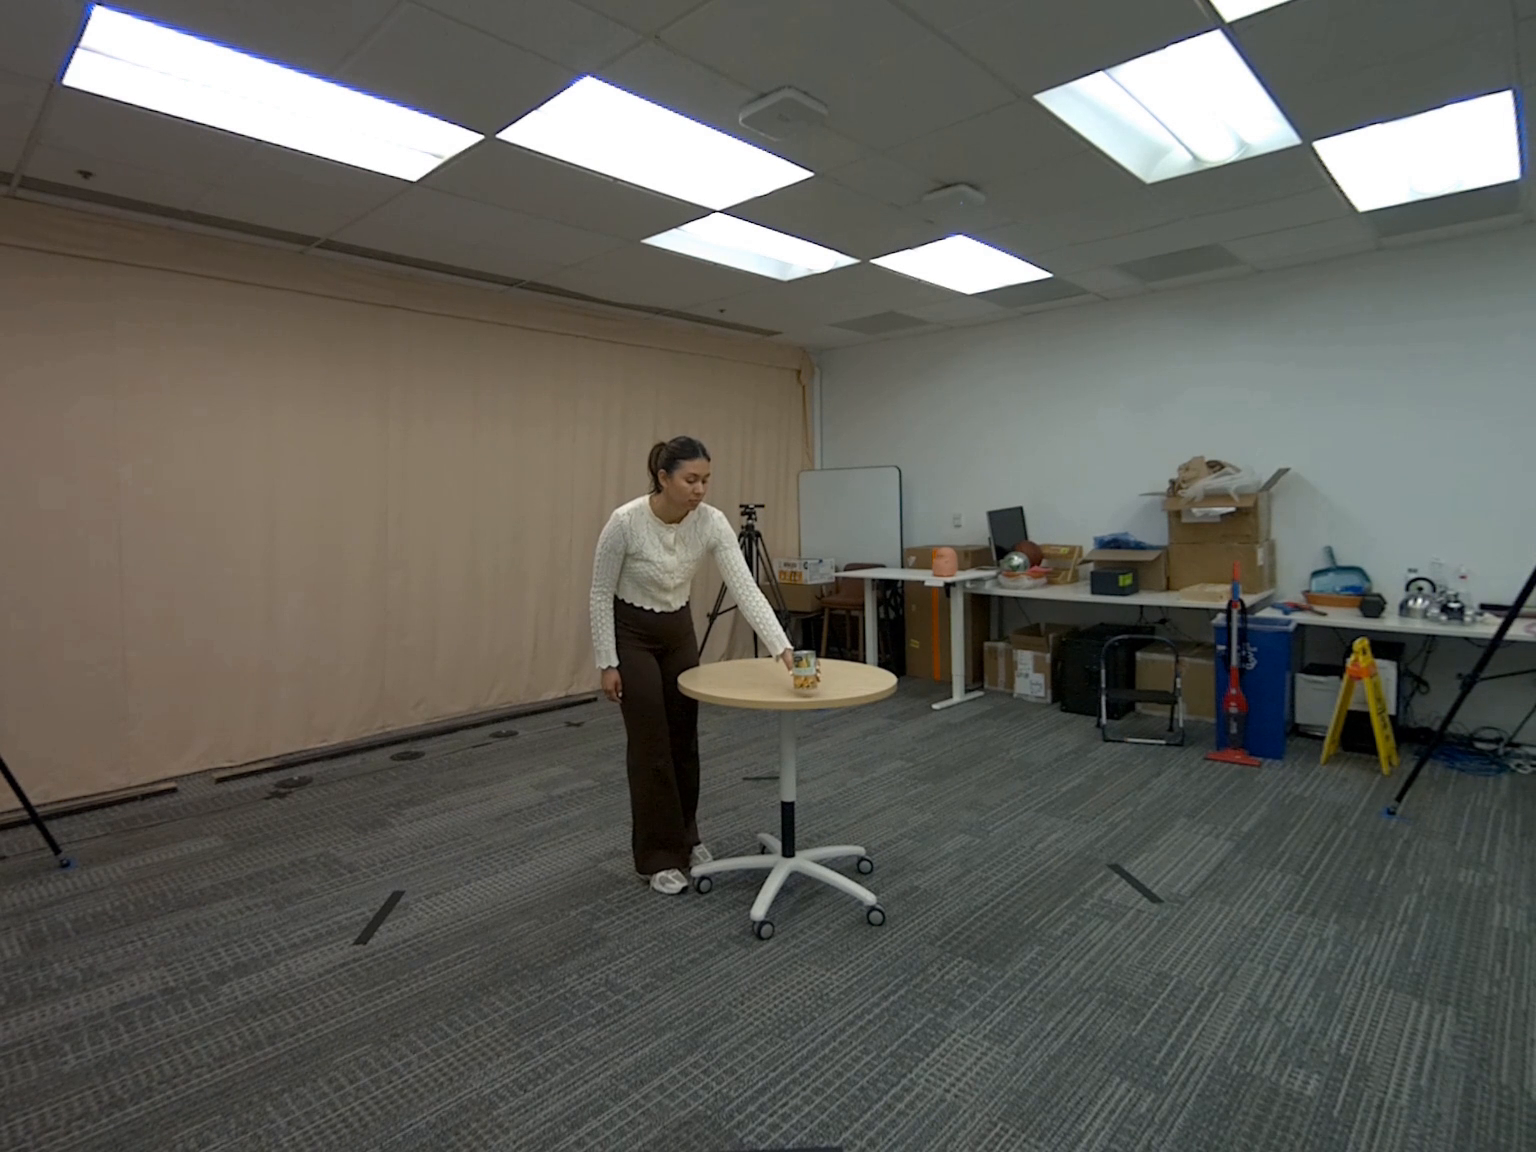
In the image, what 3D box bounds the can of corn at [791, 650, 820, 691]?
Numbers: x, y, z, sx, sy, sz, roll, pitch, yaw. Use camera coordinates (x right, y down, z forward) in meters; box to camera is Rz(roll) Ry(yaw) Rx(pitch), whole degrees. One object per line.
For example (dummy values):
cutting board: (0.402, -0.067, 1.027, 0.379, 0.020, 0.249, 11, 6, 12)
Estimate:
can of corn: (0.114, 0.293, 2.652, 0.074, 0.111, 0.074, -2, 0, -2)
